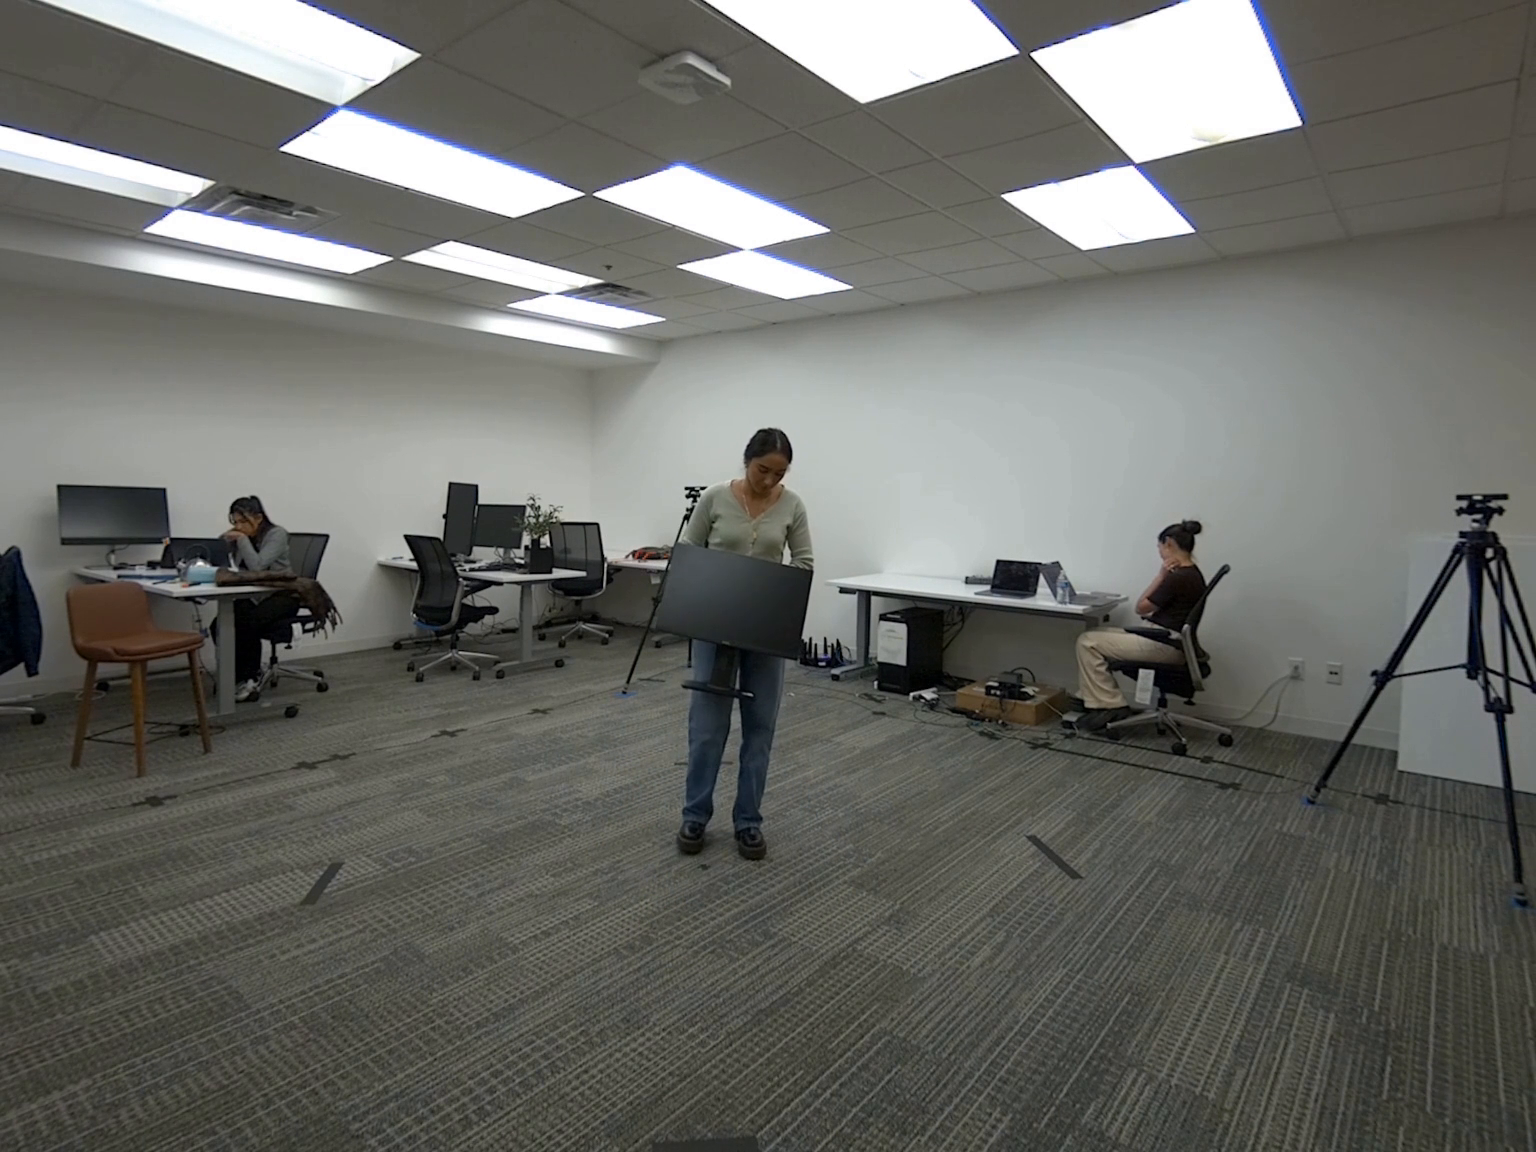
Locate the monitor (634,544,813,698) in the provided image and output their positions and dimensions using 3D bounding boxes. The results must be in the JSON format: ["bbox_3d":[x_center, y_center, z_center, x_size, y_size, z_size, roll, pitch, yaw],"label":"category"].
[{"bbox_3d":[-0.155,0.172,3.196,0.533,0.514,0.174,11,4,4],"label":"monitor"}]
